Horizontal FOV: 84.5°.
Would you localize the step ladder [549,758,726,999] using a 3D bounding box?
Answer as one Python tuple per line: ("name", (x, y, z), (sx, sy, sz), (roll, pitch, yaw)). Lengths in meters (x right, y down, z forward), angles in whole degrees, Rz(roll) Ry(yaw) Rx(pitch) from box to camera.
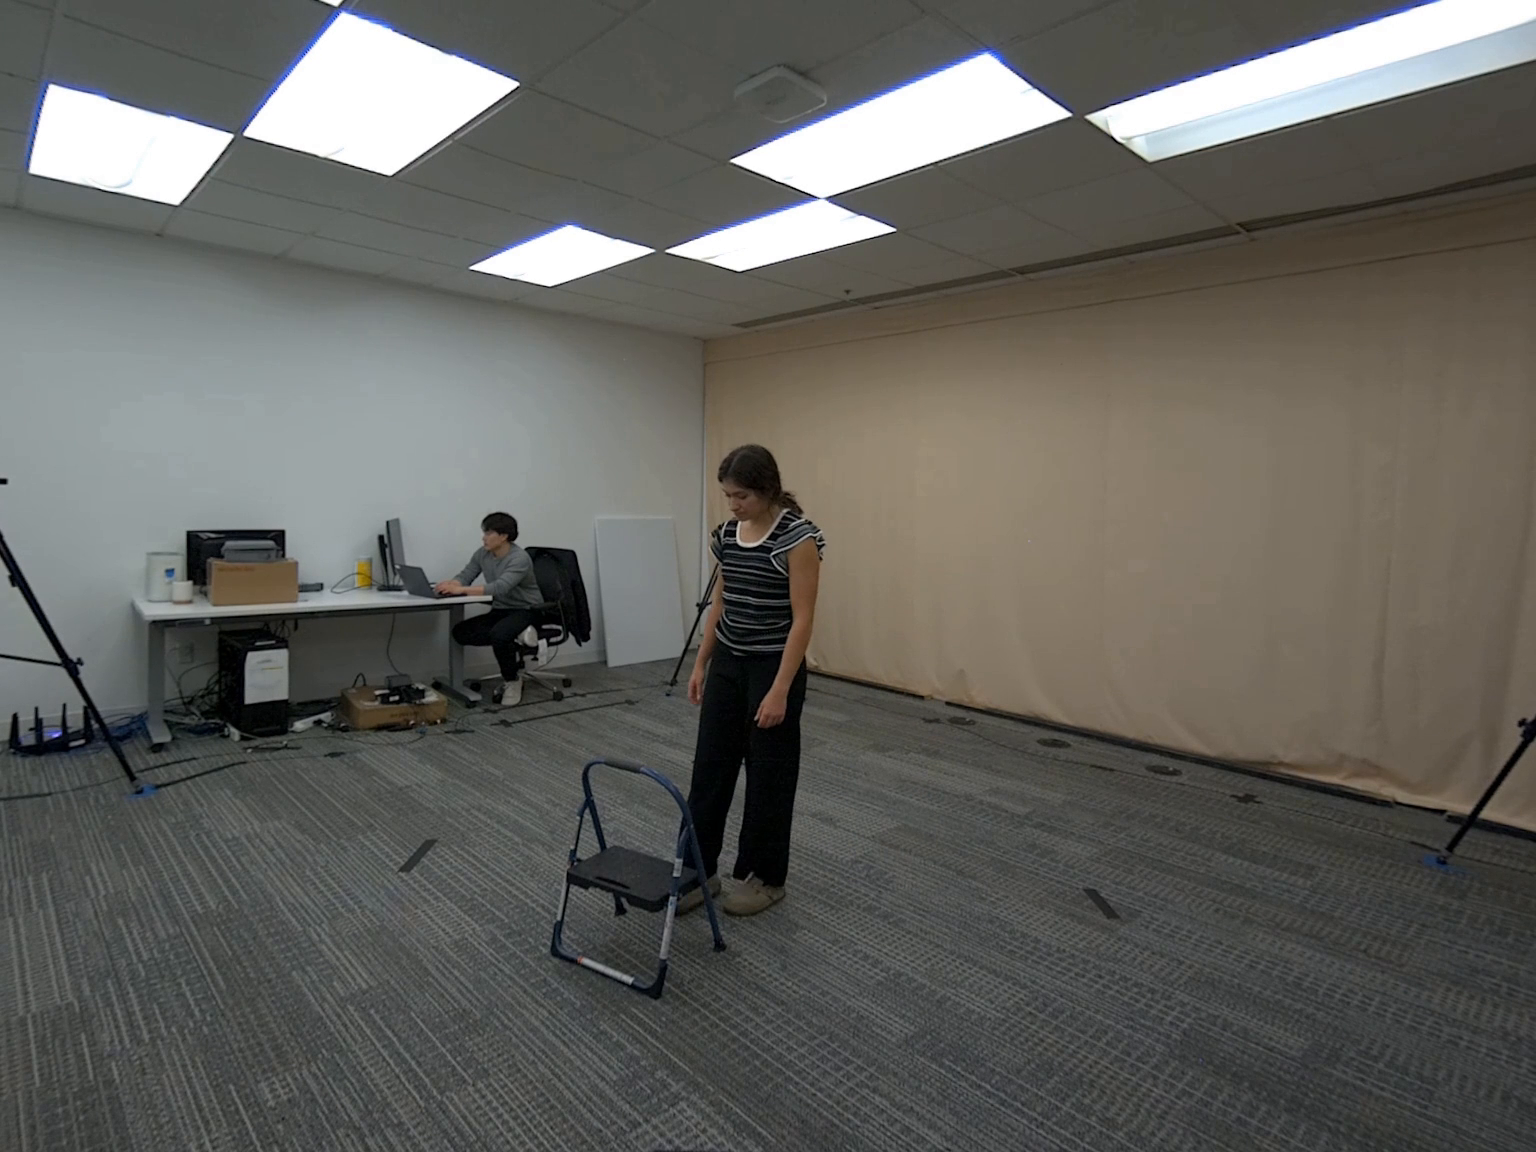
("step ladder", (-0.399, 0.850, 2.560), (0.440, 0.605, 0.342), (3, 4, 31))
